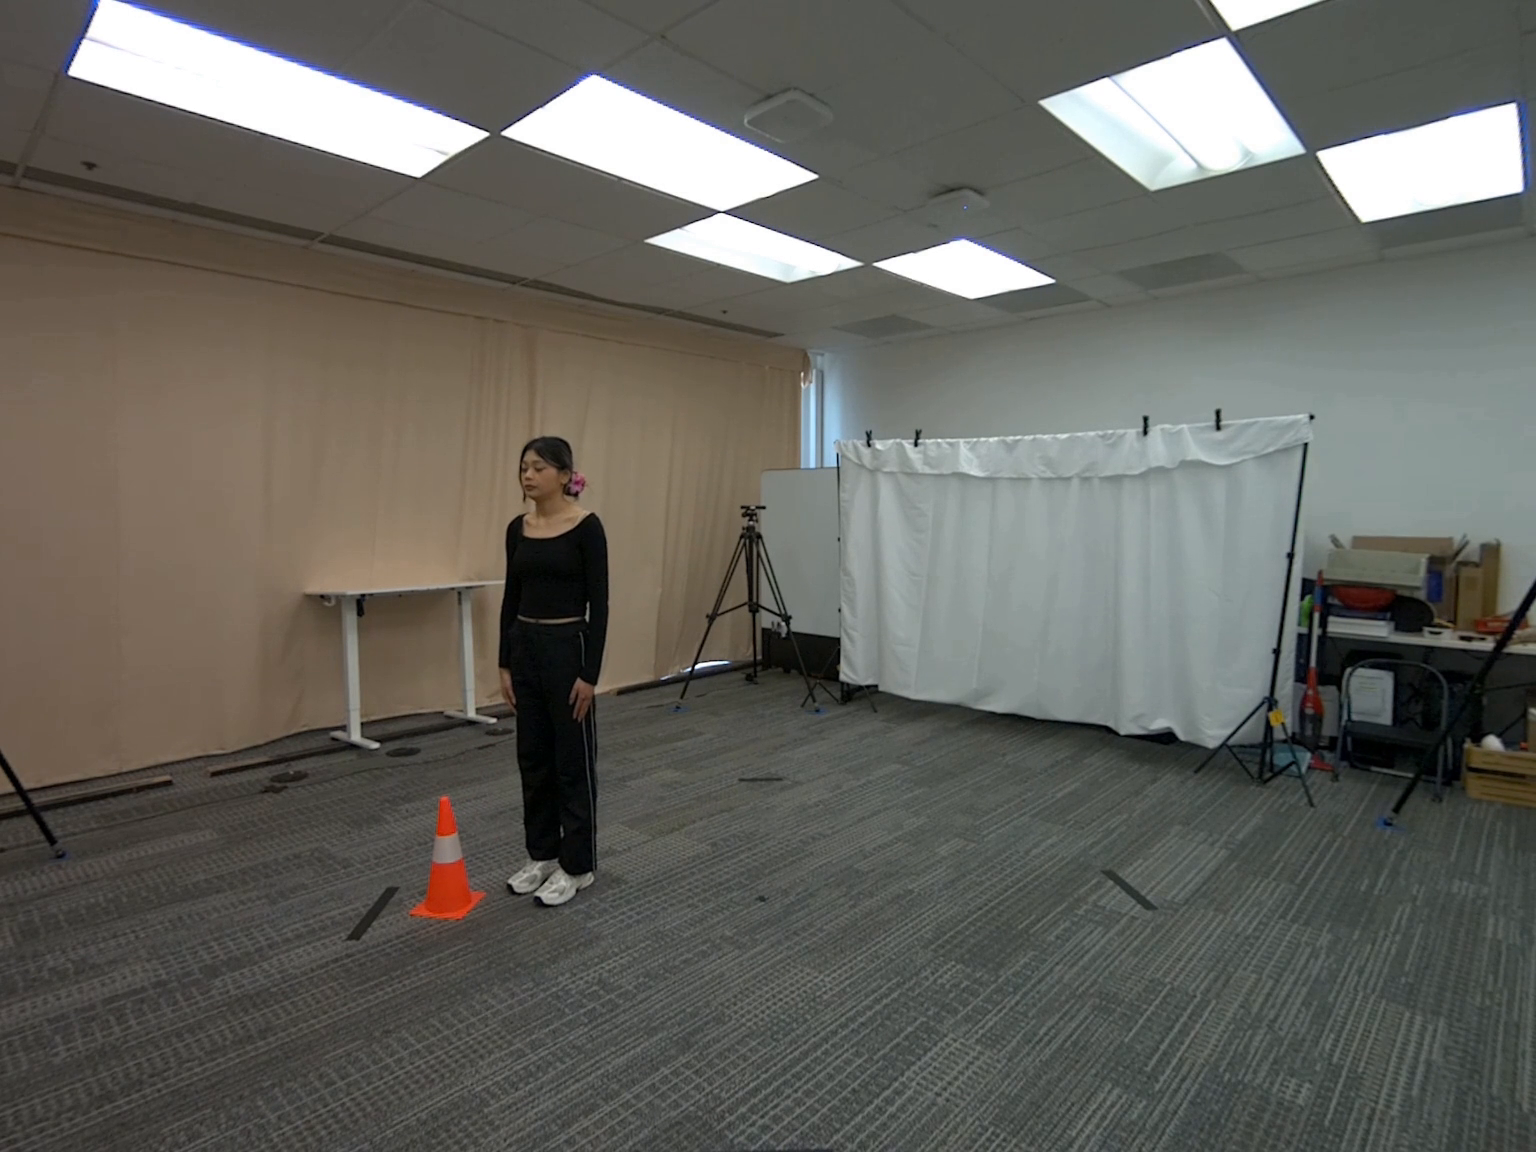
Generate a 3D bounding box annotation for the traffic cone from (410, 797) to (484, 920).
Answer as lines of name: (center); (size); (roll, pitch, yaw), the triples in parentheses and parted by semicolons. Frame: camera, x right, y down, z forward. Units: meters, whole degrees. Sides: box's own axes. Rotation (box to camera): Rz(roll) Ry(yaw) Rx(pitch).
traffic cone: (-1.133, 0.970, 2.957); (0.207, 0.383, 0.202); (0, 1, 7)
